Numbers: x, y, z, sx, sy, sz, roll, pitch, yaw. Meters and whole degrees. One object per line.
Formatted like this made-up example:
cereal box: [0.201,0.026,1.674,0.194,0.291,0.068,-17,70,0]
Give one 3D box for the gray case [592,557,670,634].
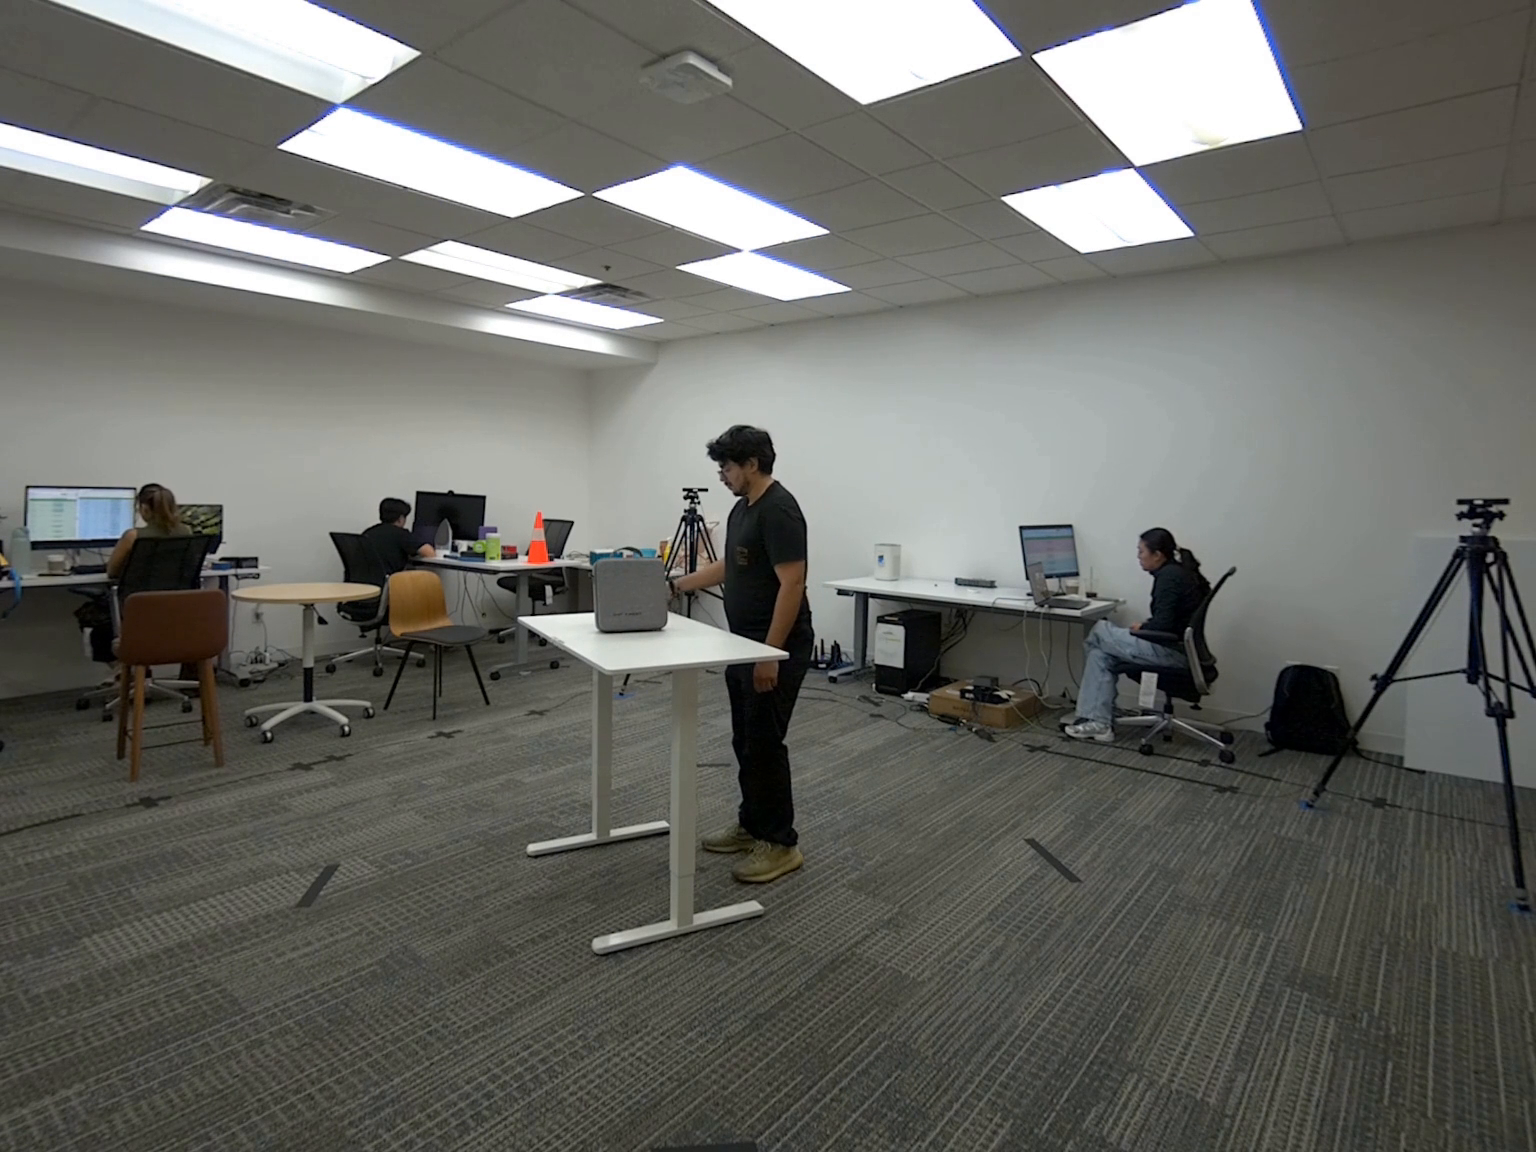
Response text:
gray case: [-0.504,0.056,3.022,0.252,0.261,0.106,-3,-3,-21]
